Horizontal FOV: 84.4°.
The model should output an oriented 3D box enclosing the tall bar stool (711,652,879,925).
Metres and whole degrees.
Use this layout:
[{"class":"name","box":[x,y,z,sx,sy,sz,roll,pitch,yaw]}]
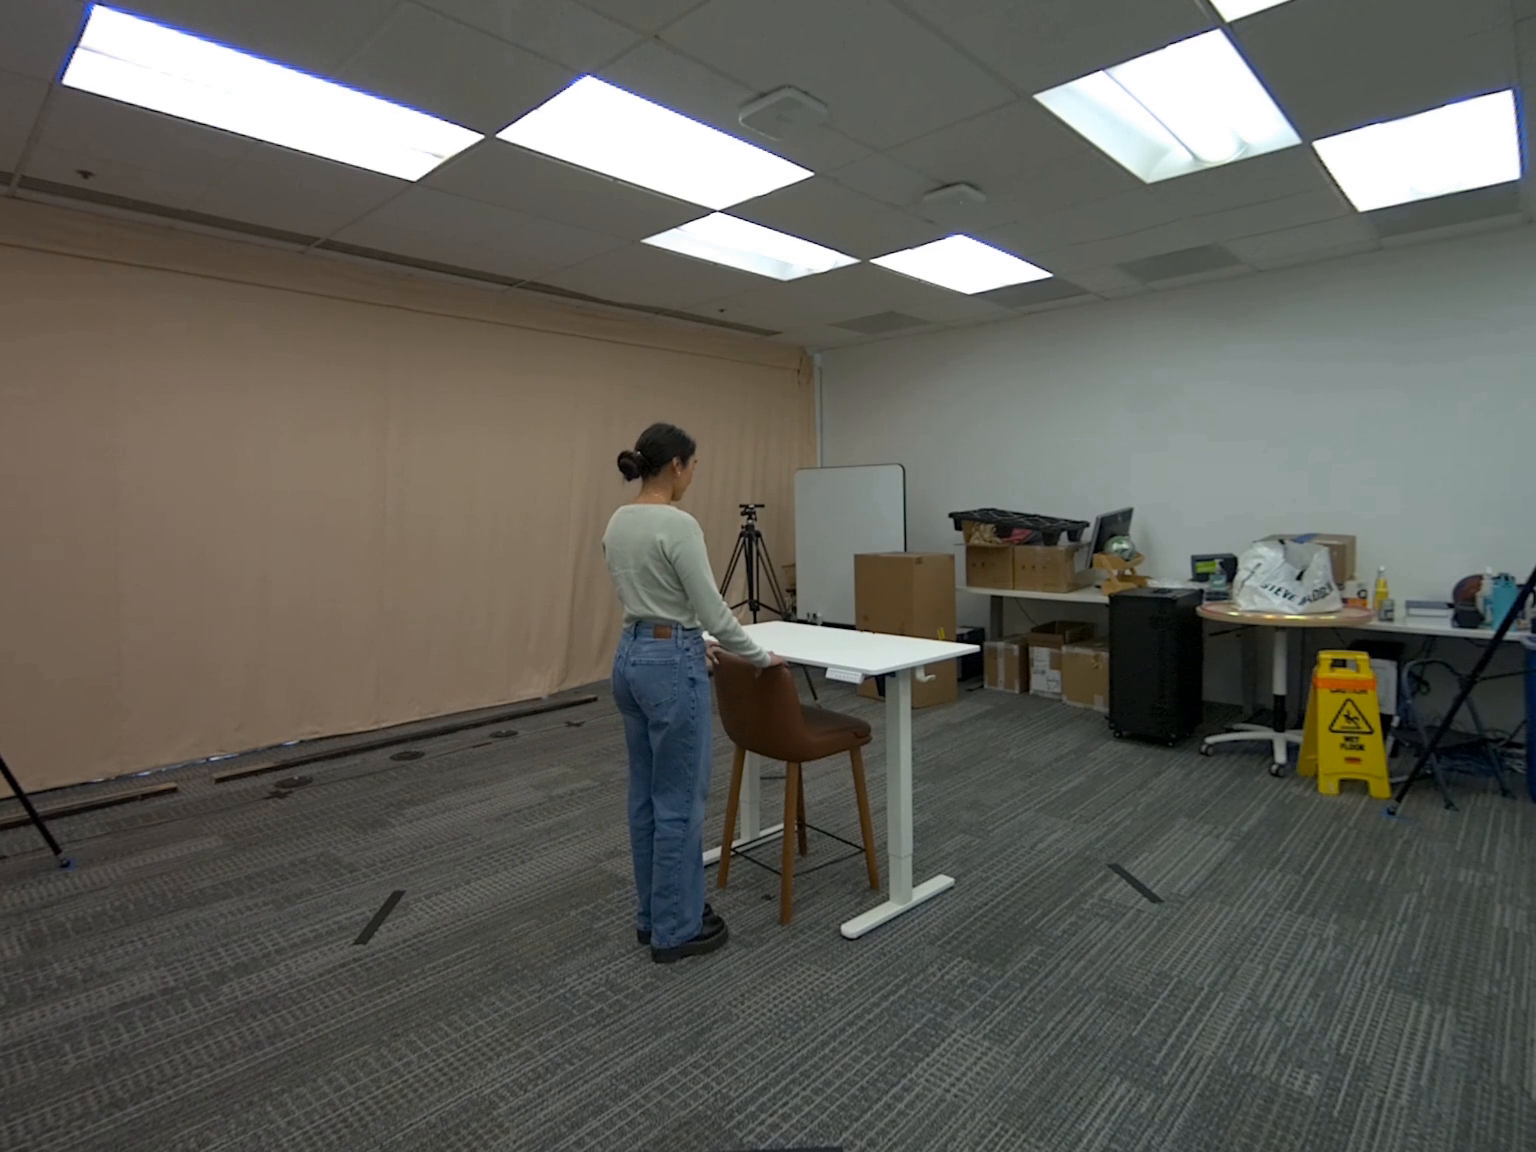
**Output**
[{"class":"tall bar stool","box":[0.085,0.699,3.030,0.454,0.886,0.471,-7,7,-38]}]
